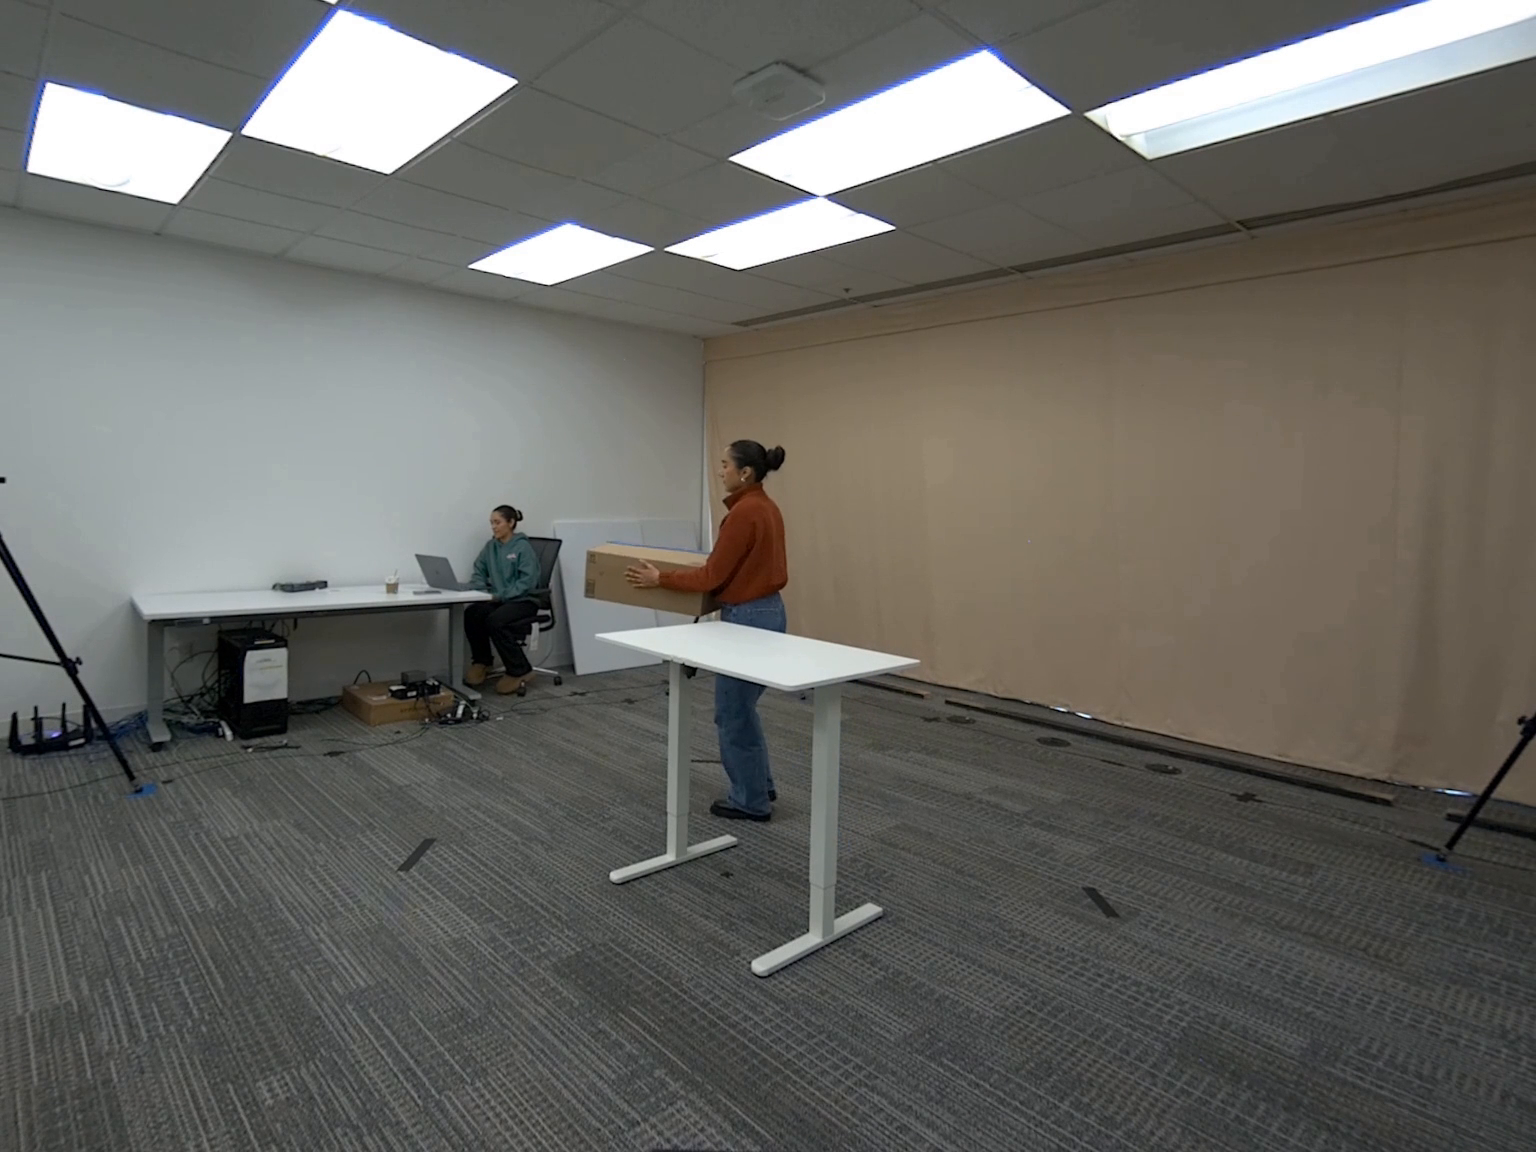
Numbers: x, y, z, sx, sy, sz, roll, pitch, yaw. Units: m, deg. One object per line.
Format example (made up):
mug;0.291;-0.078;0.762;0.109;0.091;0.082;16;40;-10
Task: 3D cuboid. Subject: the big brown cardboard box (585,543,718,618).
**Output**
big brown cardboard box;-0.474;0.002;3.791;0.599;0.232;0.412;7;8;19
